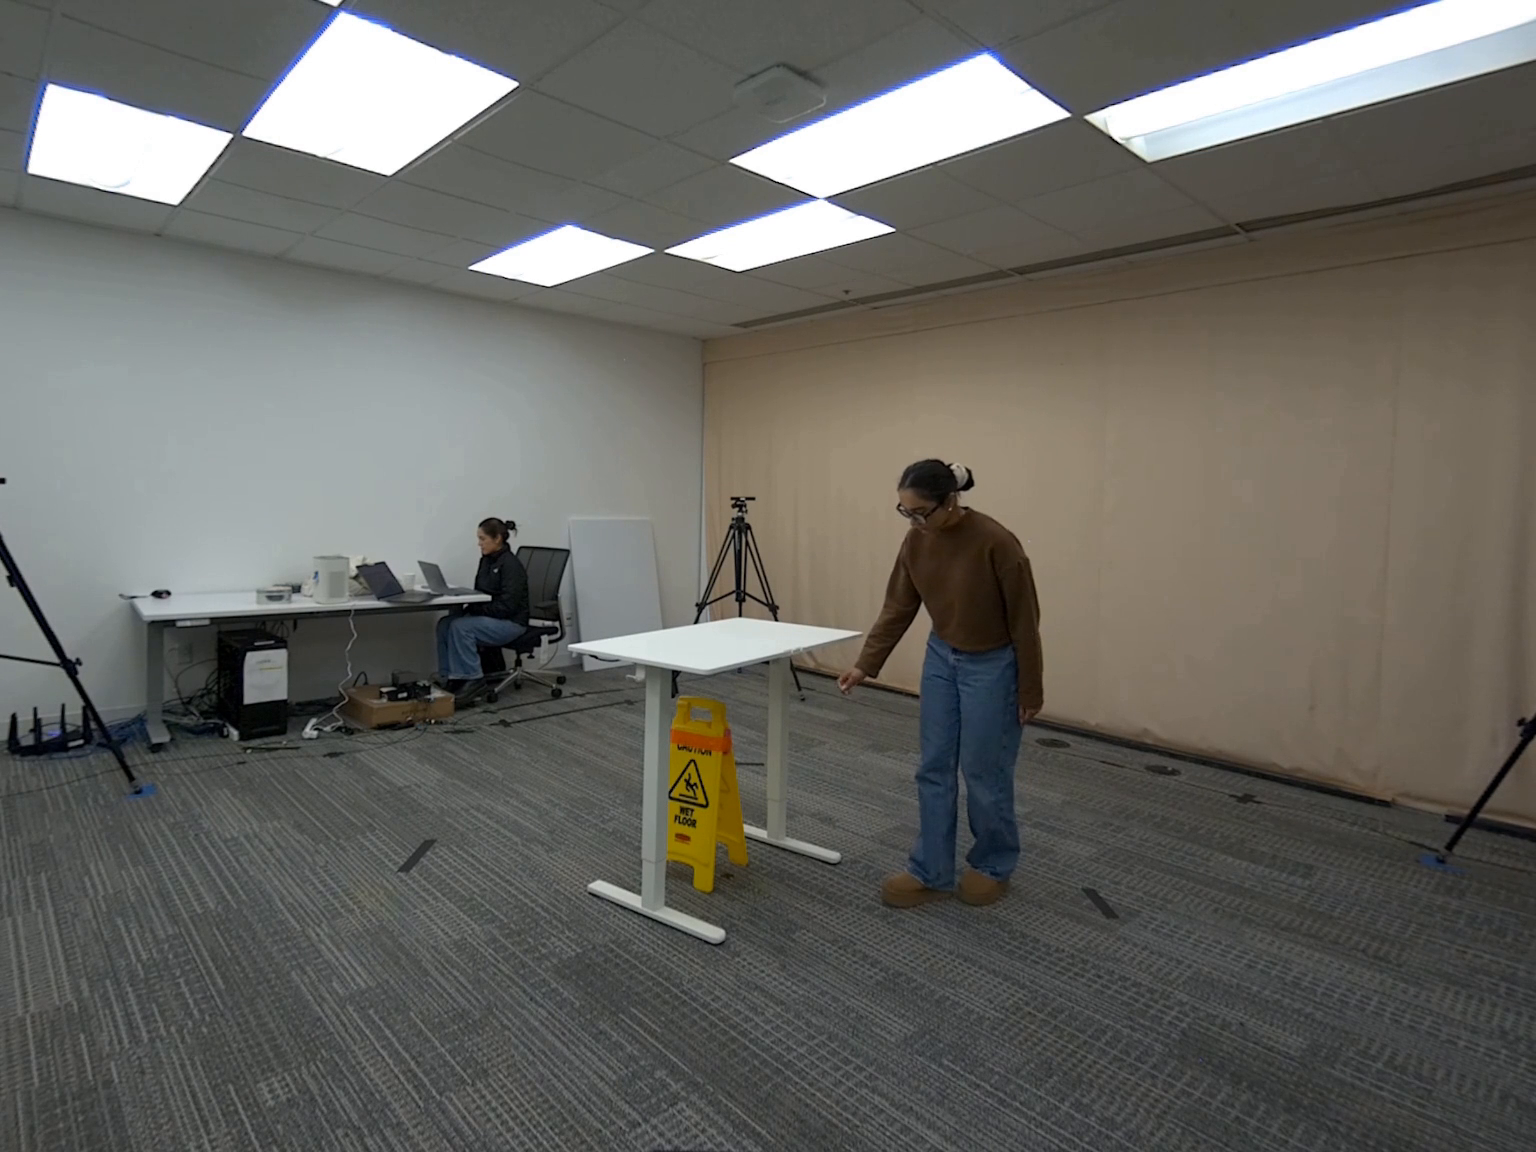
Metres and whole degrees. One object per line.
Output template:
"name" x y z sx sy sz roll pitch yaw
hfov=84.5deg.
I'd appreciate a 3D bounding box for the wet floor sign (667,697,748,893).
"wet floor sign" -0.257 0.775 3.137 0.288 0.645 0.284 3 3 27
